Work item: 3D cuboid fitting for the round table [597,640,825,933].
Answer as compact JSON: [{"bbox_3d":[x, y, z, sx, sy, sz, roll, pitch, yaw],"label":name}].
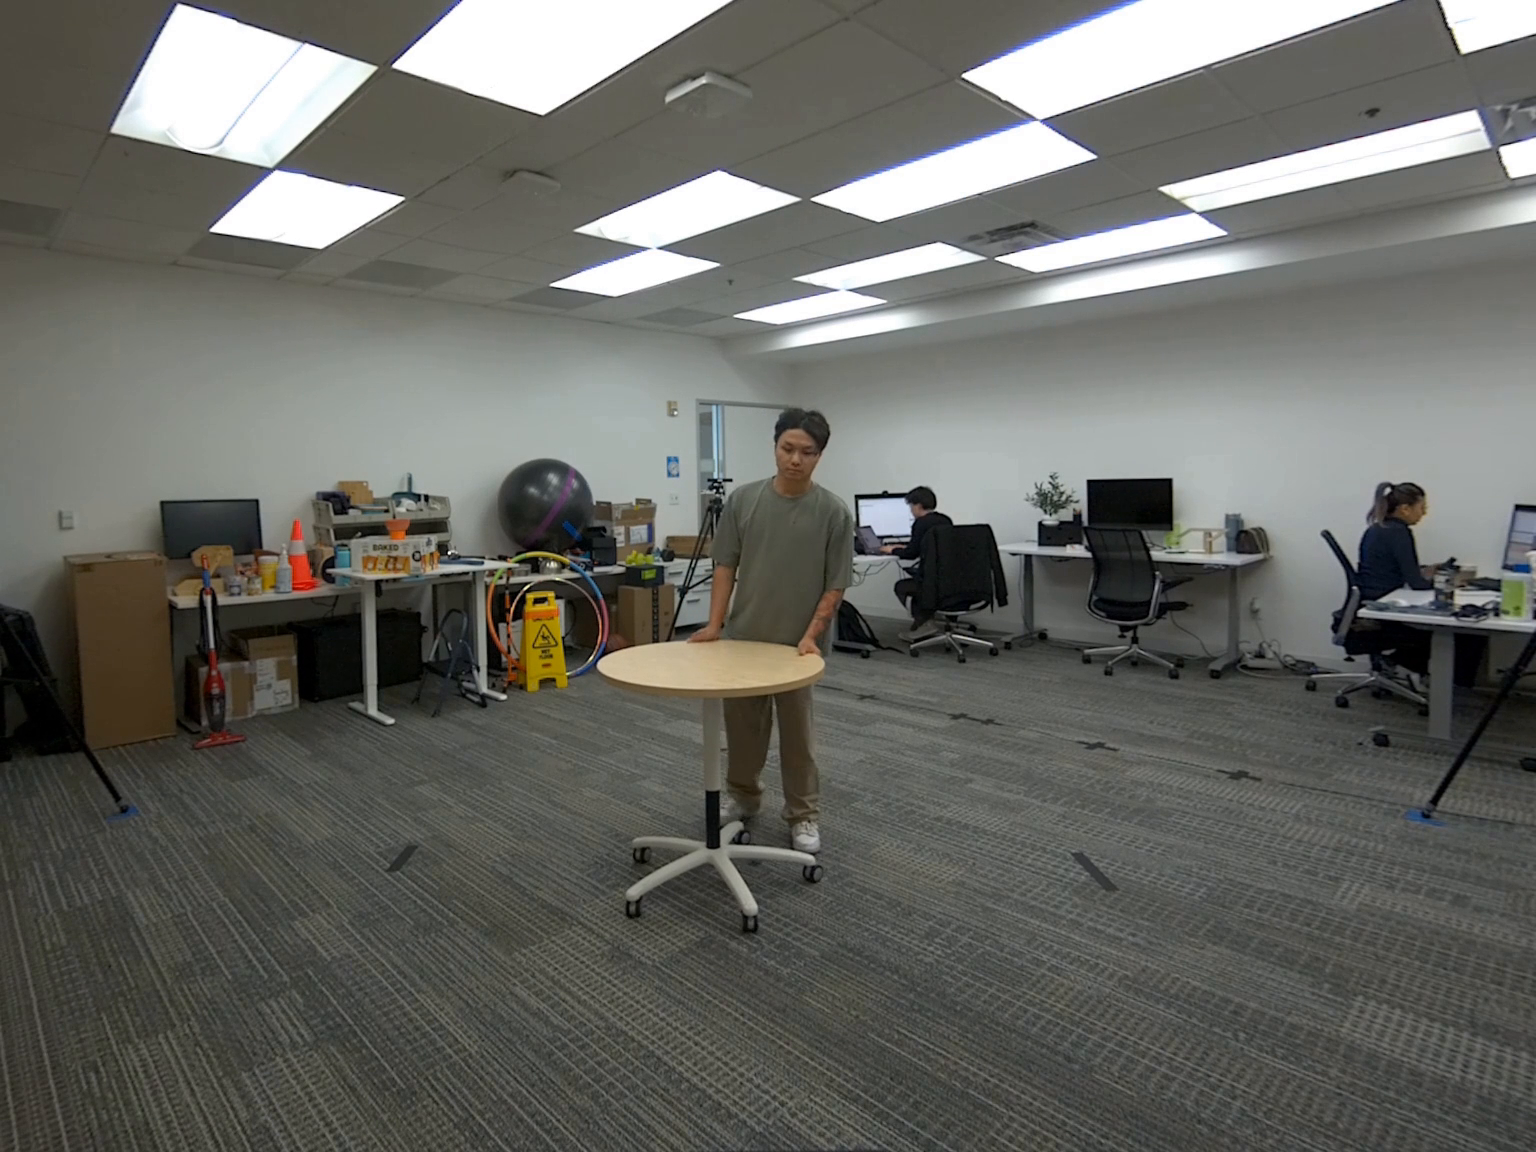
[{"bbox_3d":[-0.202,0.678,2.899,0.784,0.783,0.789,0,5,-2],"label":"round table"}]
